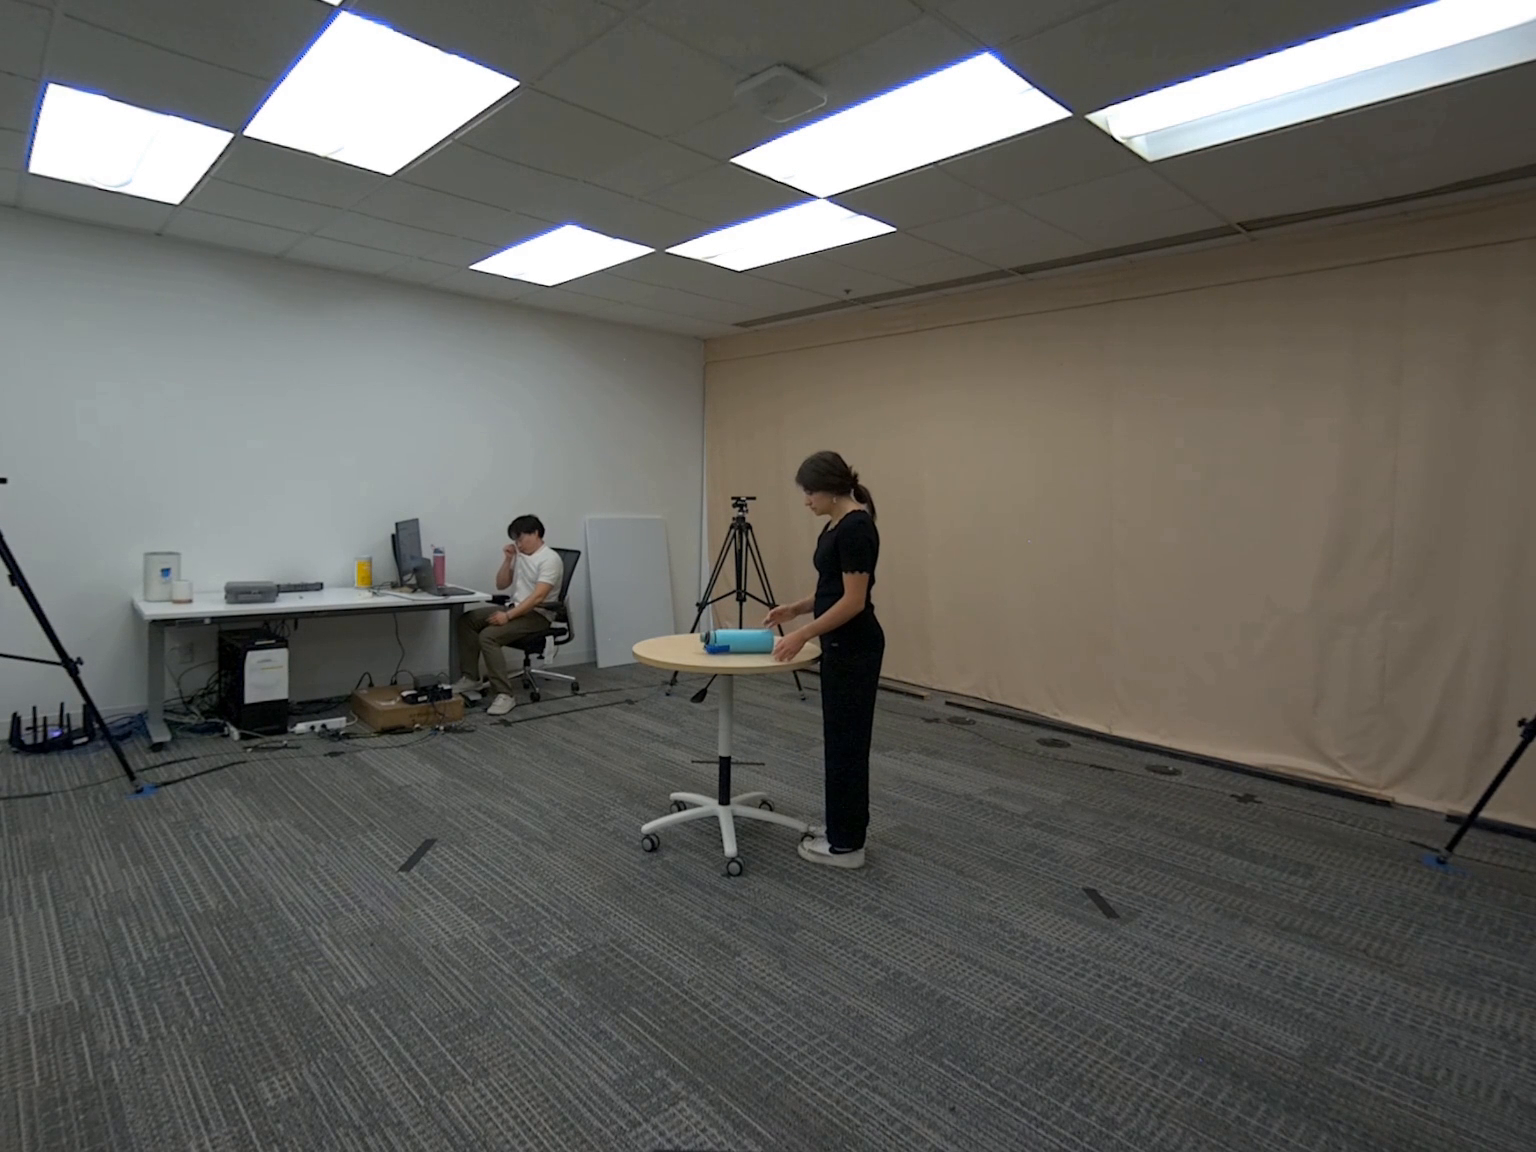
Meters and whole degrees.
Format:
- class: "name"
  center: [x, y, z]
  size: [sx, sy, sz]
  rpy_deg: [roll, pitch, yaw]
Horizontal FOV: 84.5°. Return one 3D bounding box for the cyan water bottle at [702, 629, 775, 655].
- class: "cyan water bottle"
  center: [-0.126, 0.256, 3.301]
  size: [0.281, 0.092, 0.093]
  rpy_deg: [1, 4, -10]
